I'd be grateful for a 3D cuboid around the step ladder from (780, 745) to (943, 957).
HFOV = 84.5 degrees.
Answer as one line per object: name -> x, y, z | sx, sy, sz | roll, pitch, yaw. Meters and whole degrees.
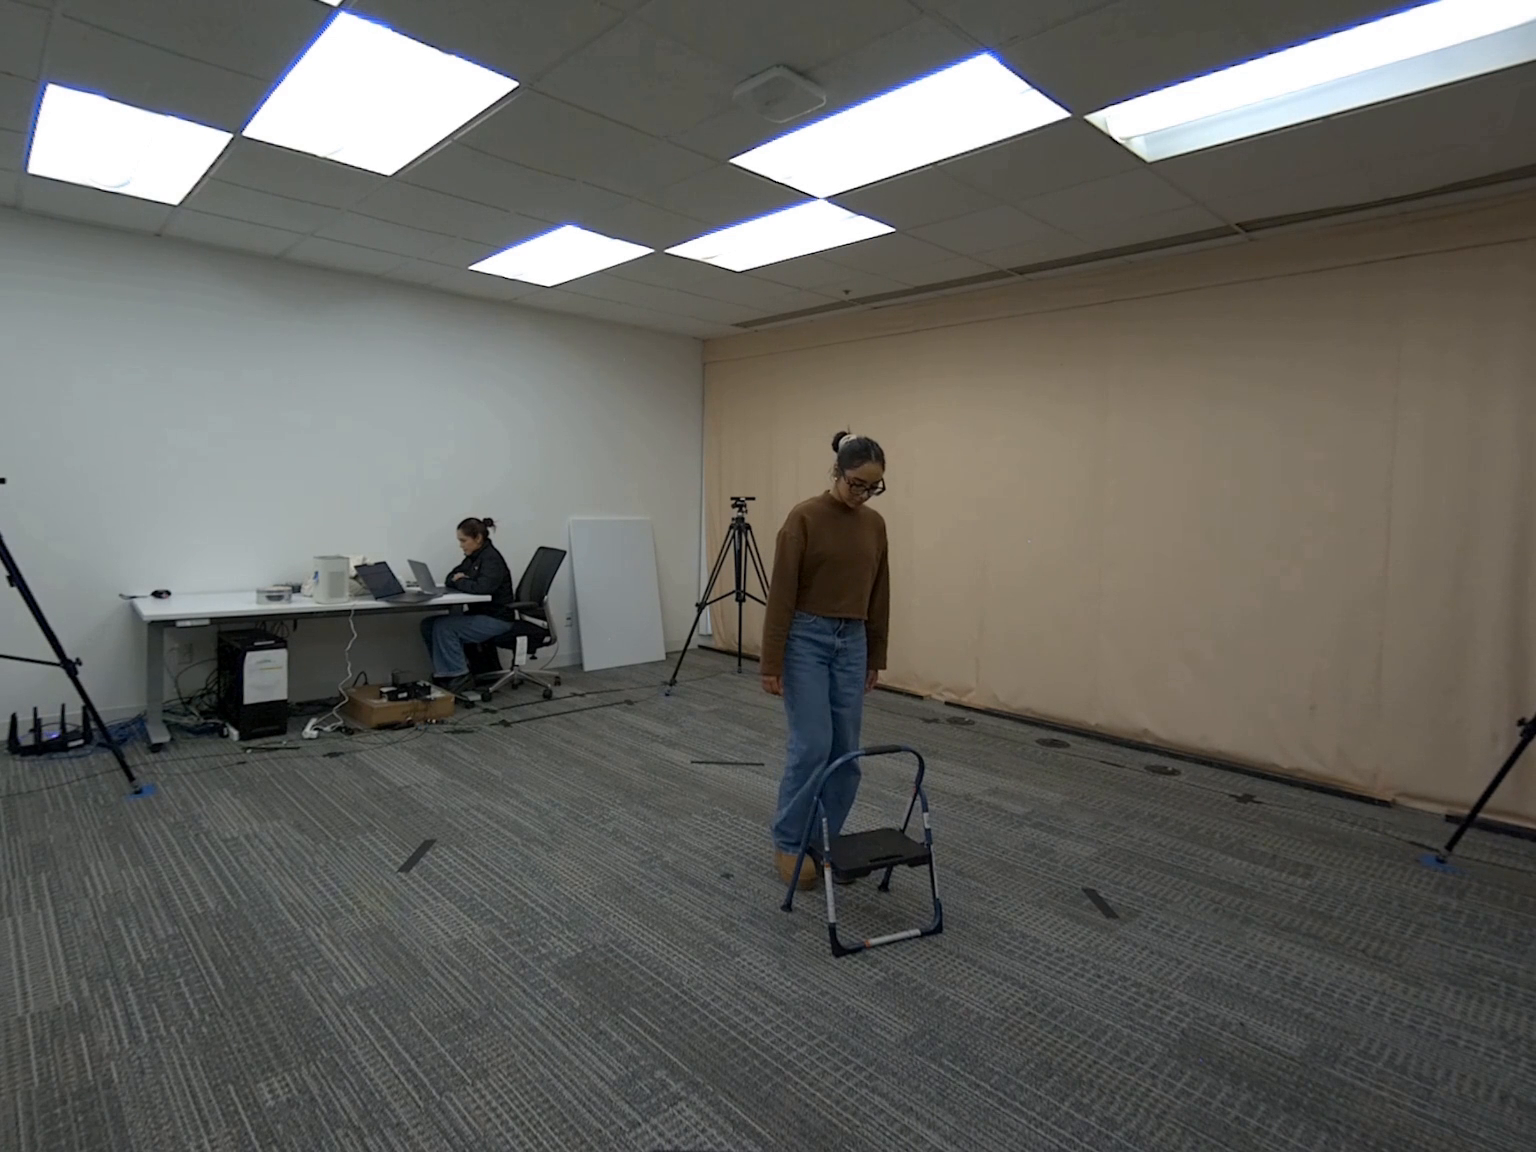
step ladder -> 0.313, 0.843, 2.784 | 0.422, 0.605, 0.356 | 0, 3, -26
